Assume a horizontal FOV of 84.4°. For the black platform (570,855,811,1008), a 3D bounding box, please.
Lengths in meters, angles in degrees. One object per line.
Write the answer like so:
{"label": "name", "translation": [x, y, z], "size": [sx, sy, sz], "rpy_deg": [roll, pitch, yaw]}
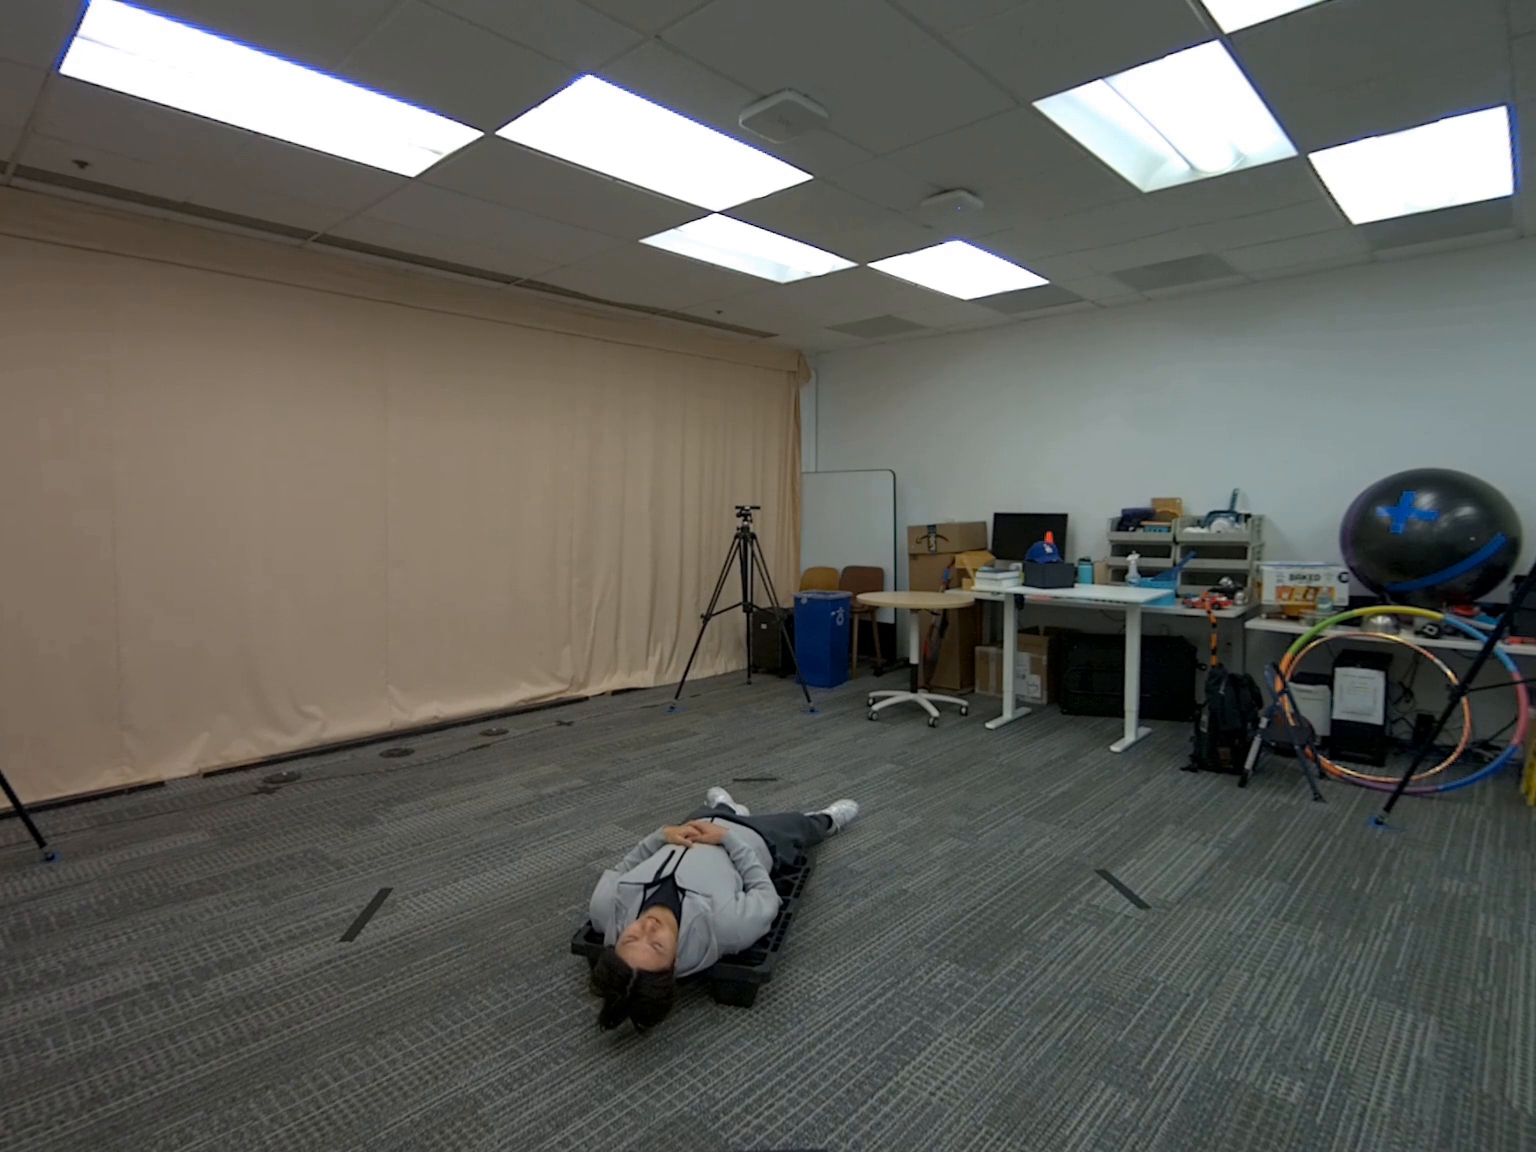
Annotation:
{"label": "black platform", "translation": [-0.200, 1.088, 2.740], "size": [0.616, 0.143, 0.794], "rpy_deg": [2, 7, 15]}
